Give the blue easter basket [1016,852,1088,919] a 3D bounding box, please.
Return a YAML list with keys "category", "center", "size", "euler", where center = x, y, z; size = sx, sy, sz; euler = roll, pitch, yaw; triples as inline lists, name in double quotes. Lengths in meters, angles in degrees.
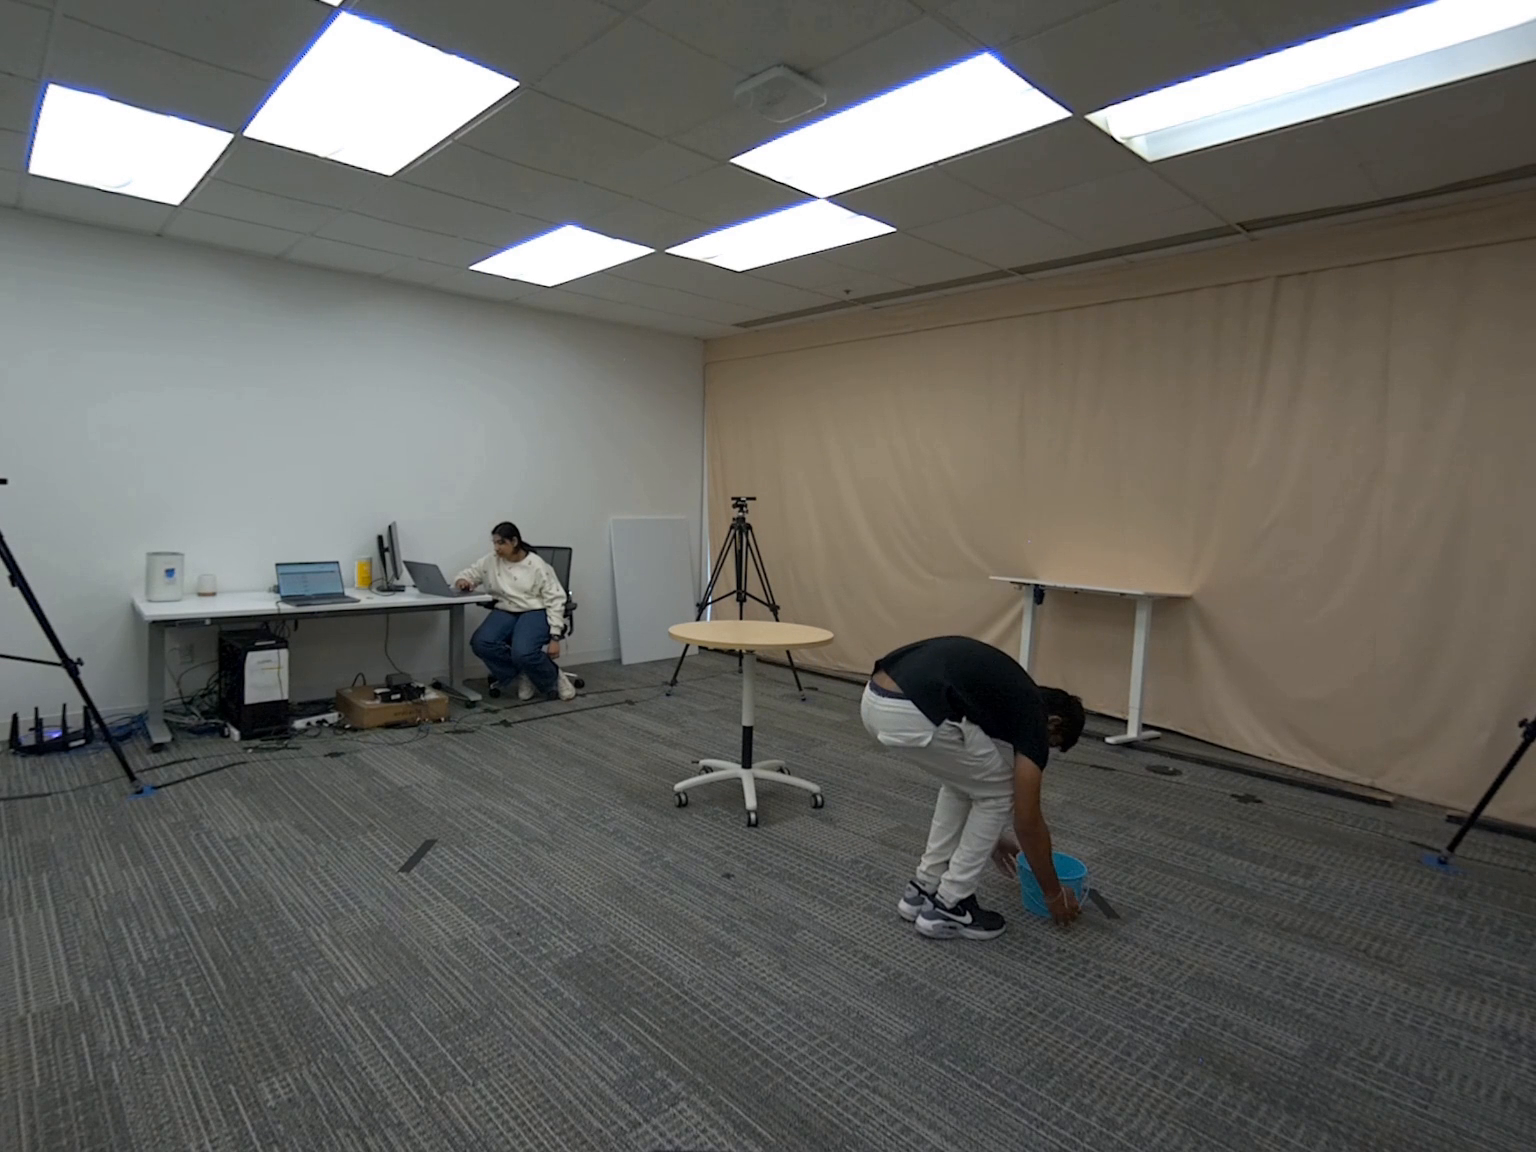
- category: "blue easter basket"
  center: [0.965, 1.071, 2.941]
  size: [0.243, 0.155, 0.244]
  euler: [2, 4, -1]
